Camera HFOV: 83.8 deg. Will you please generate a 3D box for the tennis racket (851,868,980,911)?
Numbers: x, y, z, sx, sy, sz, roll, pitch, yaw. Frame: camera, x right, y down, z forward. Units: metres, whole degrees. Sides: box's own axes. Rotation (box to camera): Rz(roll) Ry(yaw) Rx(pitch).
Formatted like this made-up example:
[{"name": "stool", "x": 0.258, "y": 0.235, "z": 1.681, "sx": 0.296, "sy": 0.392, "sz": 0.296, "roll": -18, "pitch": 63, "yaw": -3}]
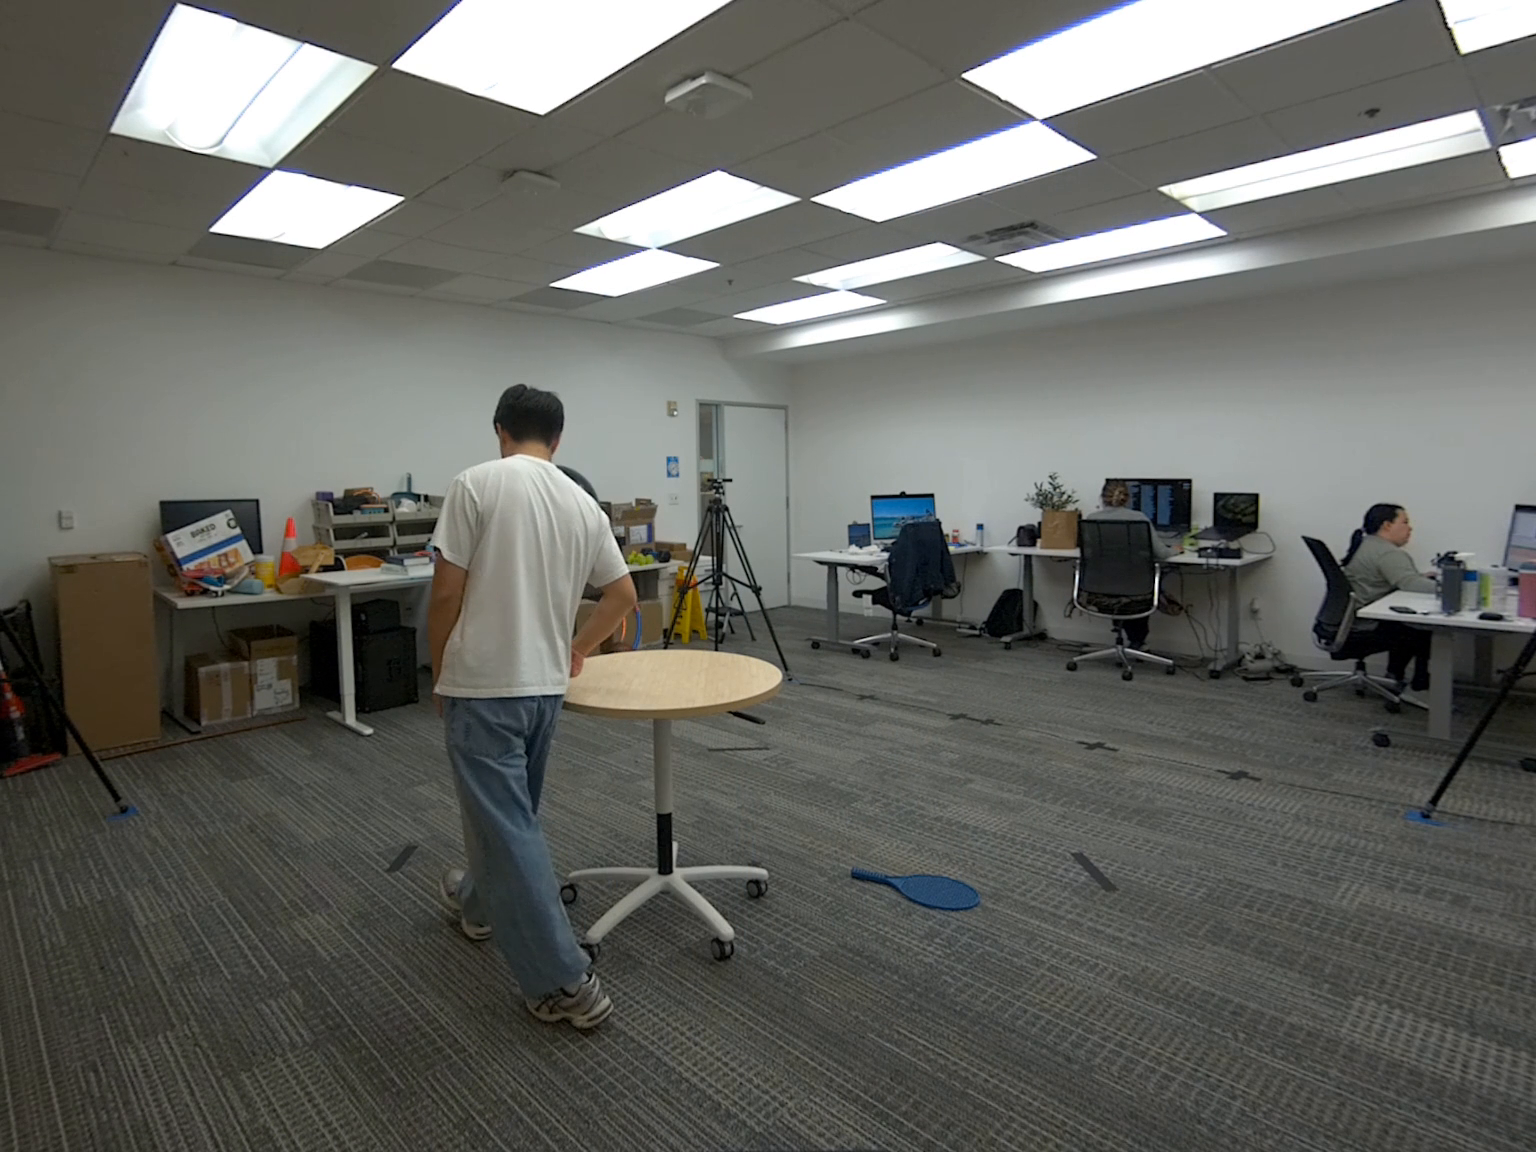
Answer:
[{"name": "tennis racket", "x": 0.494, "y": 1.046, "z": 2.890, "sx": 0.444, "sy": 0.031, "sz": 0.209, "roll": 4, "pitch": 7, "yaw": 27}]
